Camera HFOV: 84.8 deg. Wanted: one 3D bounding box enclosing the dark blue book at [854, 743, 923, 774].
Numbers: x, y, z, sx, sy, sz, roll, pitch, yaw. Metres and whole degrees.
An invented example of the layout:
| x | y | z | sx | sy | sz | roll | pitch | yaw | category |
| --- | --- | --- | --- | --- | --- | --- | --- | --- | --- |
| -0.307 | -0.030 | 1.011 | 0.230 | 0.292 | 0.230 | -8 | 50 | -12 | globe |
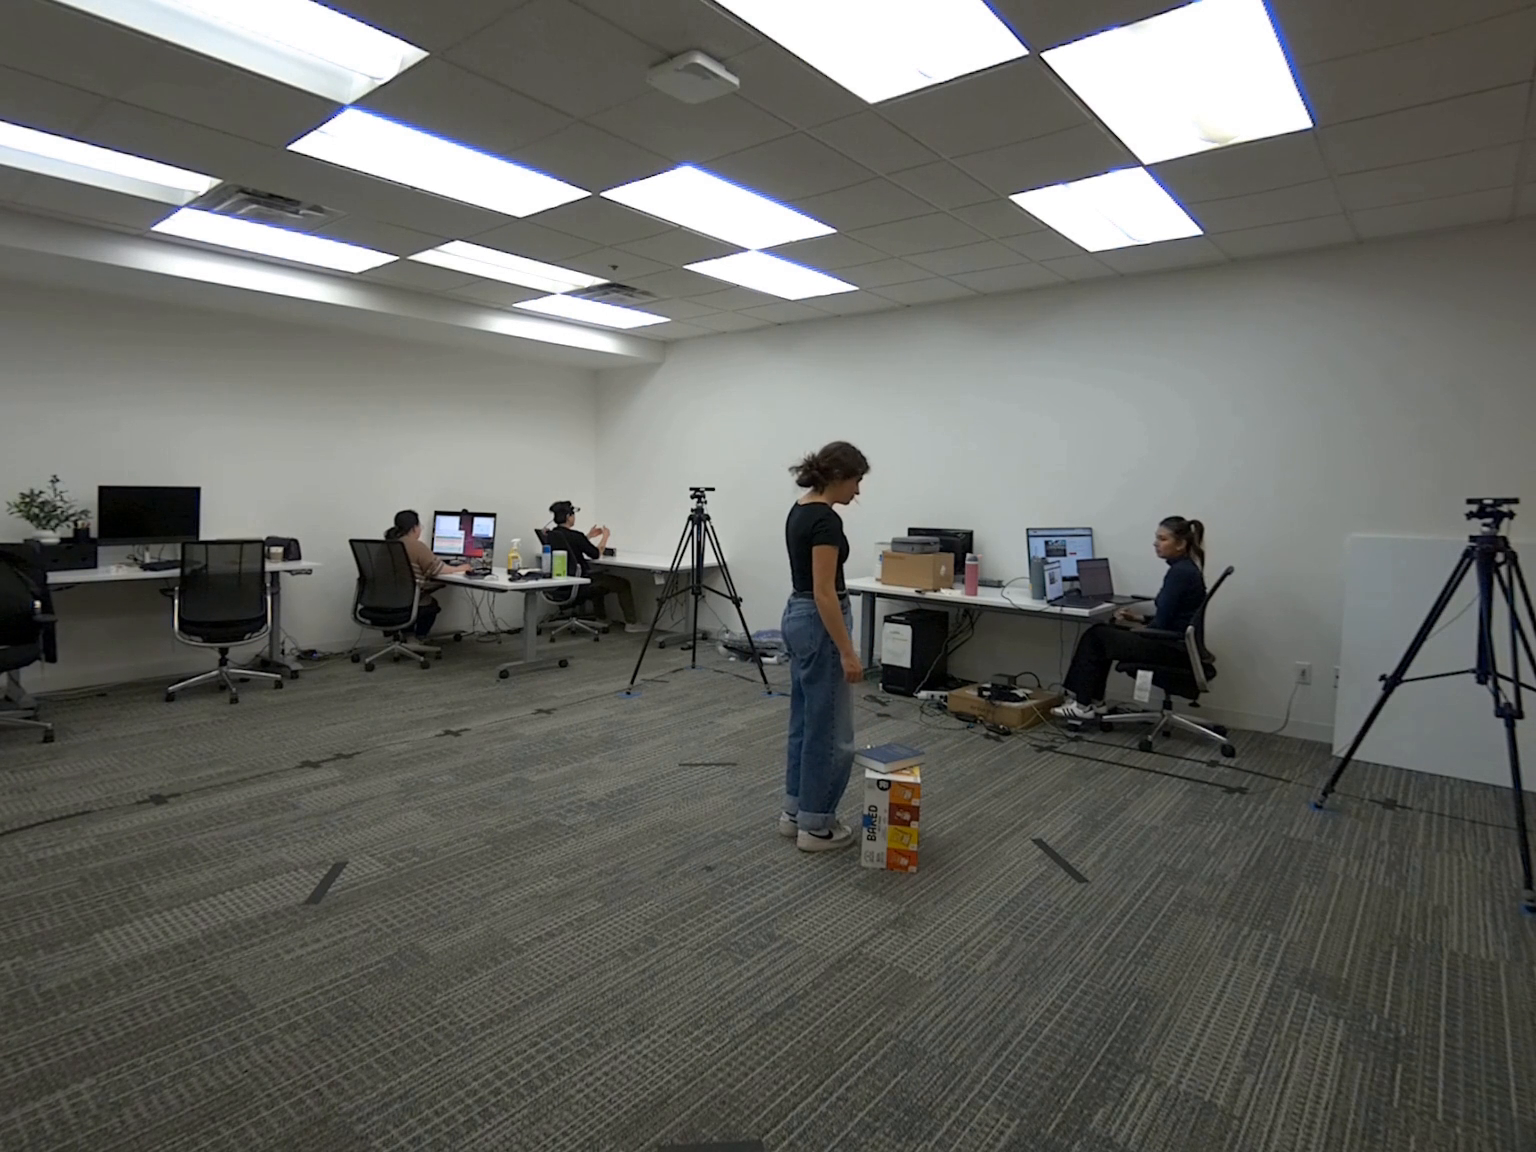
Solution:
| x | y | z | sx | sy | sz | roll | pitch | yaw | category |
| --- | --- | --- | --- | --- | --- | --- | --- | --- | --- |
| 0.466 | 0.704 | 3.300 | 0.237 | 0.045 | 0.169 | -2 | 7 | -40 | dark blue book |
